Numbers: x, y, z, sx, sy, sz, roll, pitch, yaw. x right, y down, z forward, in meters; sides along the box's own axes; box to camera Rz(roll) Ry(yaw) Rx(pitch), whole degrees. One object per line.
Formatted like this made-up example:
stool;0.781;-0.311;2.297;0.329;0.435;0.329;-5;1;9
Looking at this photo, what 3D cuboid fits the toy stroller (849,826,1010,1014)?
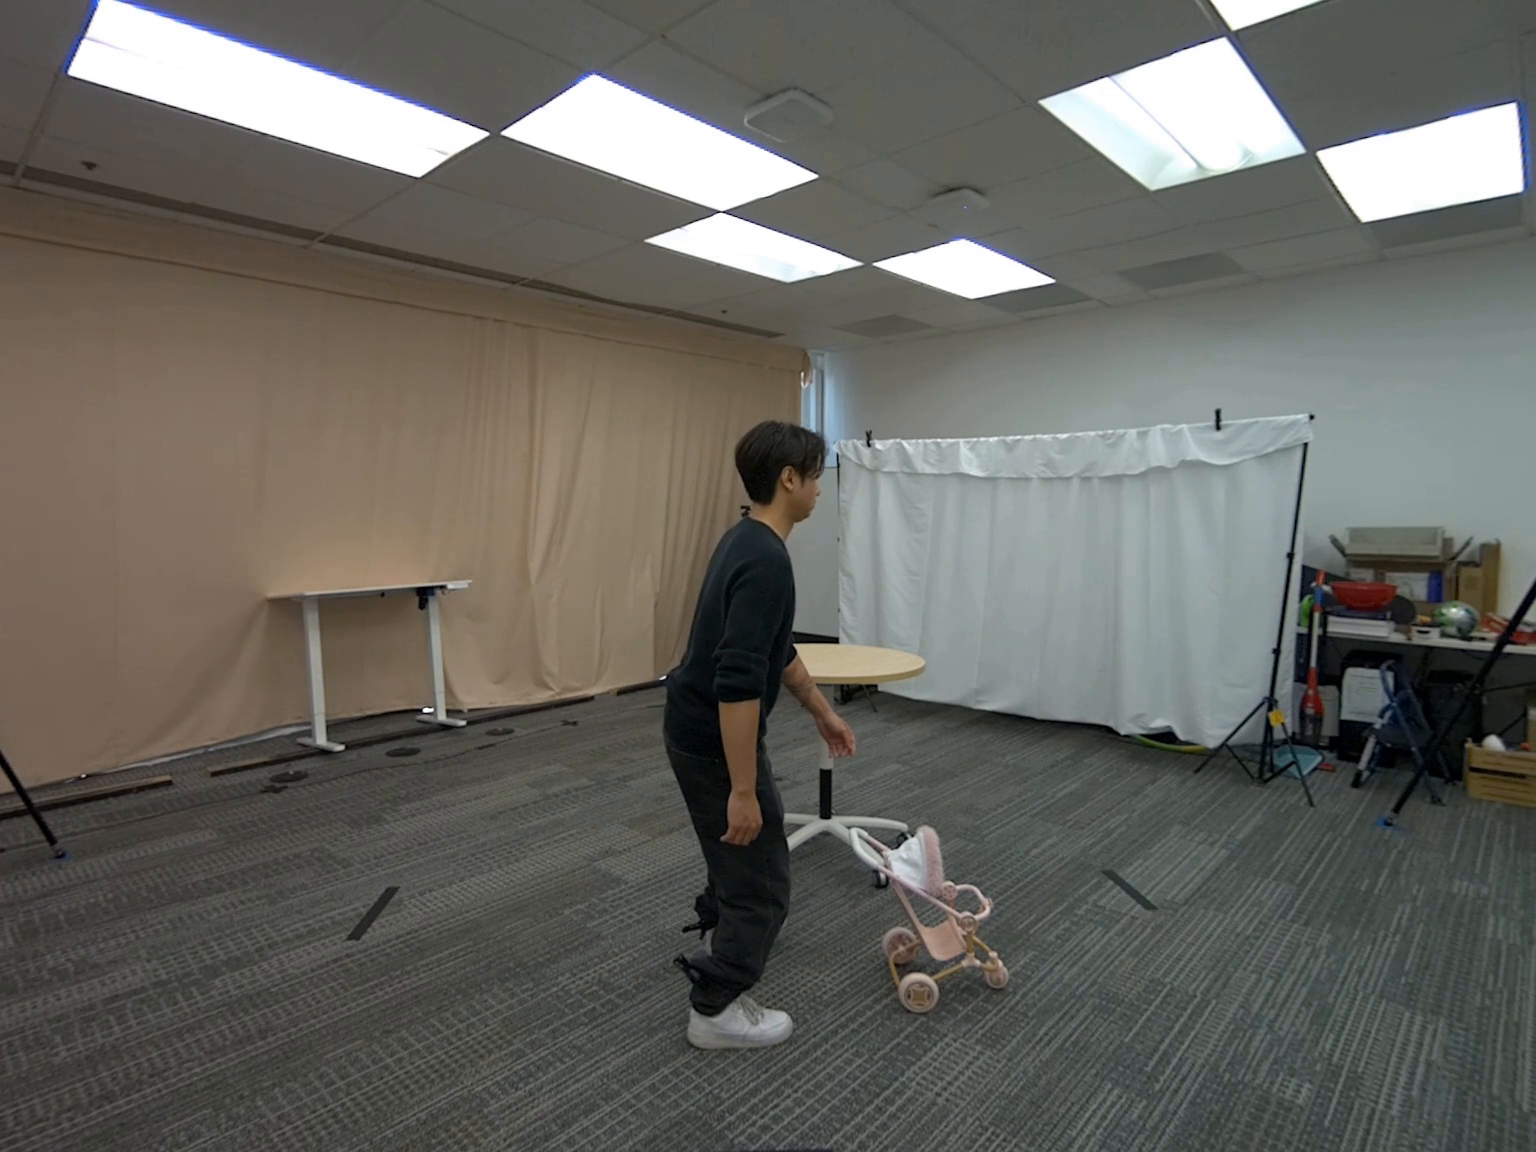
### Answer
toy stroller;0.479;0.966;2.417;0.343;0.534;0.280;-16;2;5
